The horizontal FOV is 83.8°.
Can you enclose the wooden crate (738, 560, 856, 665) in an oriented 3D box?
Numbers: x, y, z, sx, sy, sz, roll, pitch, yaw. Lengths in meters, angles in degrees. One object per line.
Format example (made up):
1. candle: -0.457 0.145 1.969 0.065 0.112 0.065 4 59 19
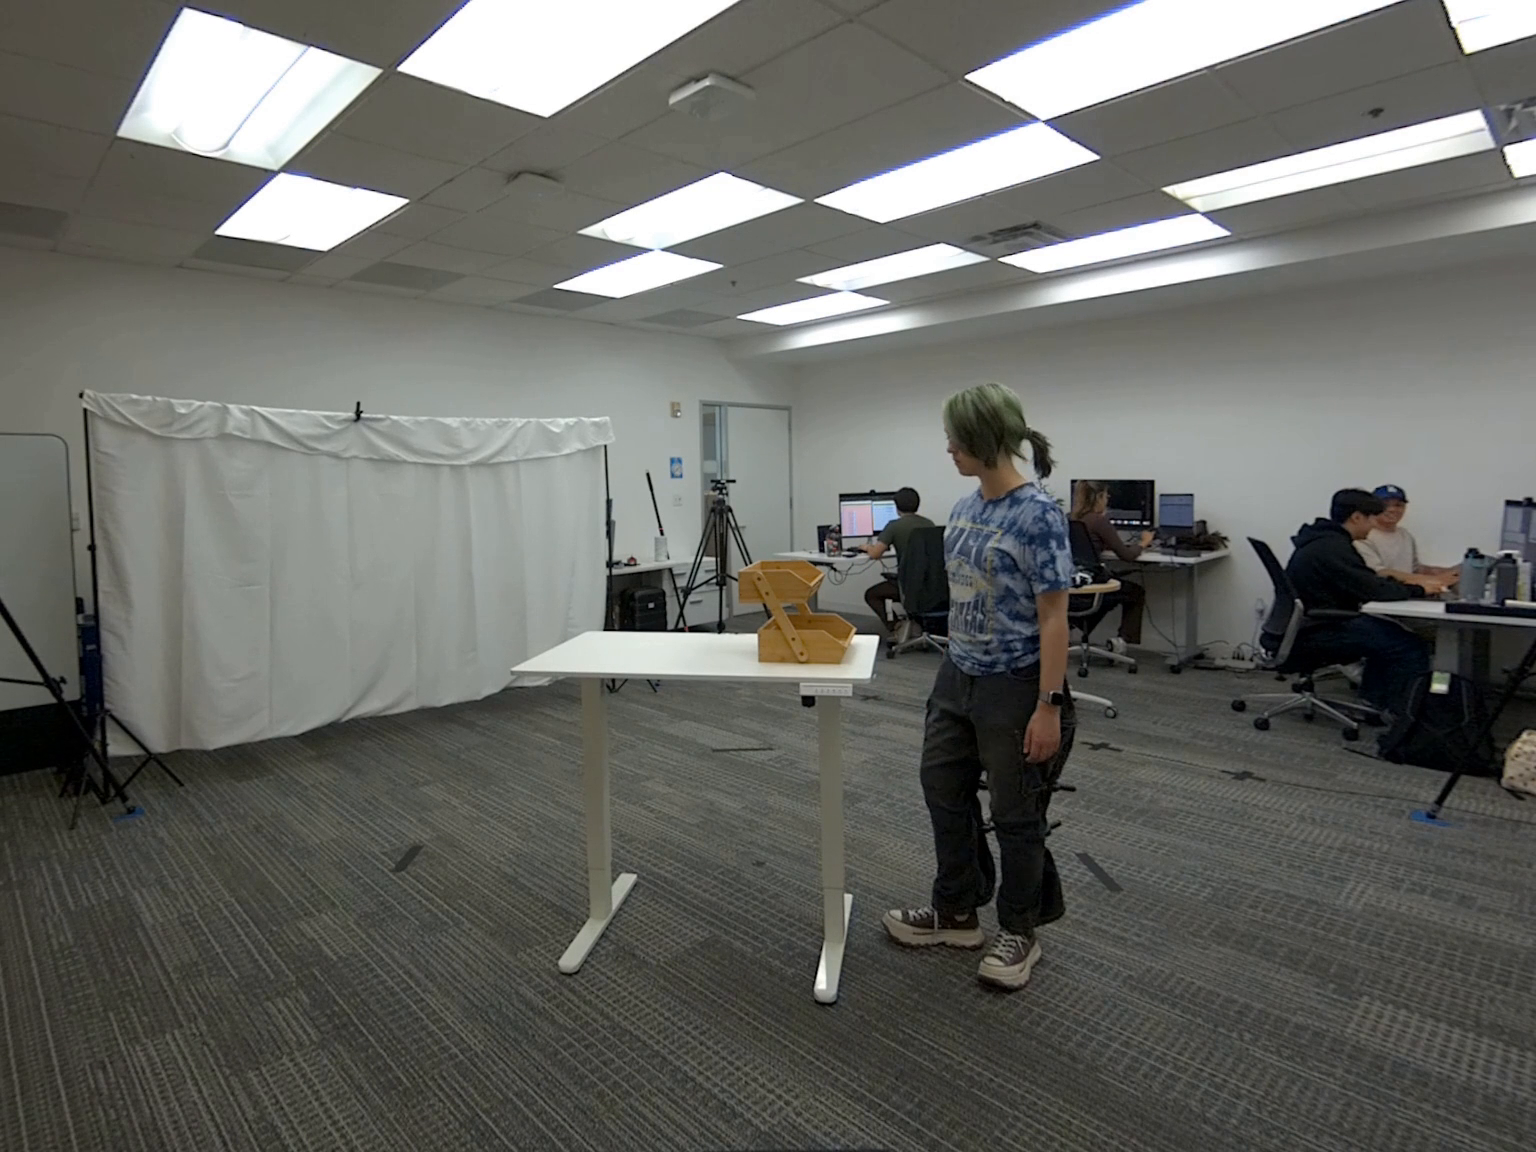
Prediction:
1. wooden crate: 0.102 0.094 2.517 0.306 0.272 0.322 -2 5 12
